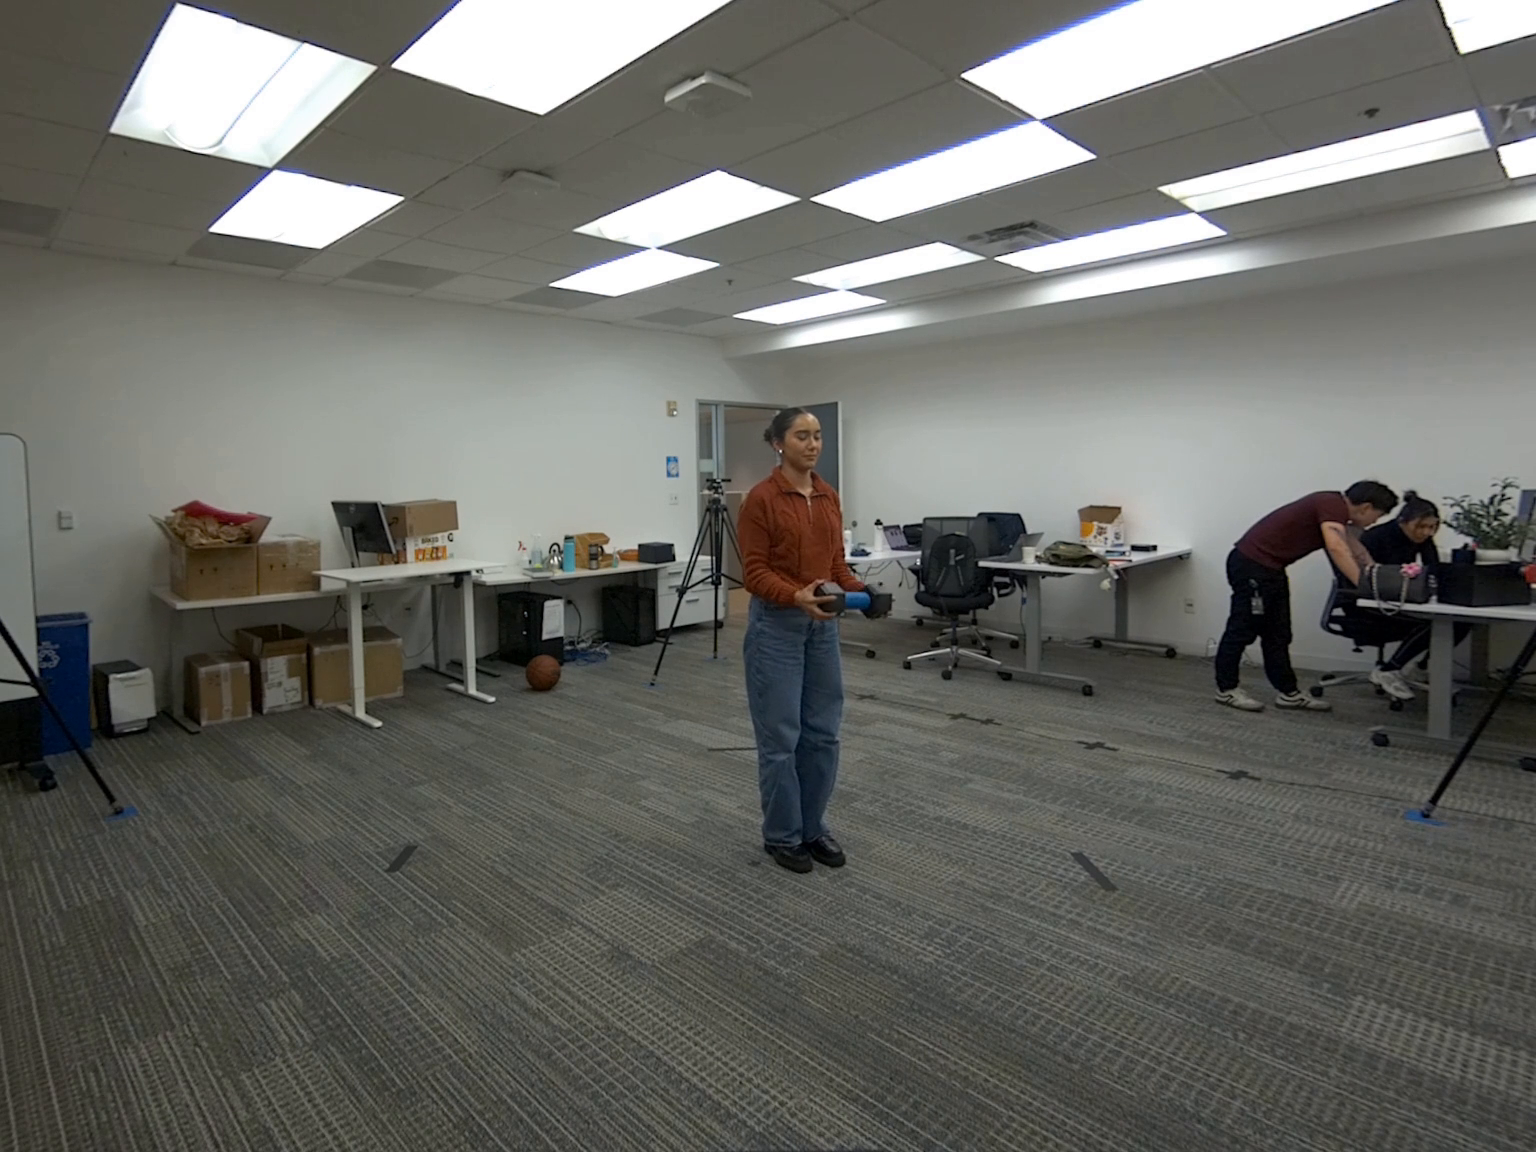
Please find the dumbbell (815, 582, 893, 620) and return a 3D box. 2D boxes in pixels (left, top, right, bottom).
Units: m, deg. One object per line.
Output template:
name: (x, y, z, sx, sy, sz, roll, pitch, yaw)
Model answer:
dumbbell: (0.266, 0.079, 2.906, 0.286, 0.107, 0.128, 2, 30, -31)
